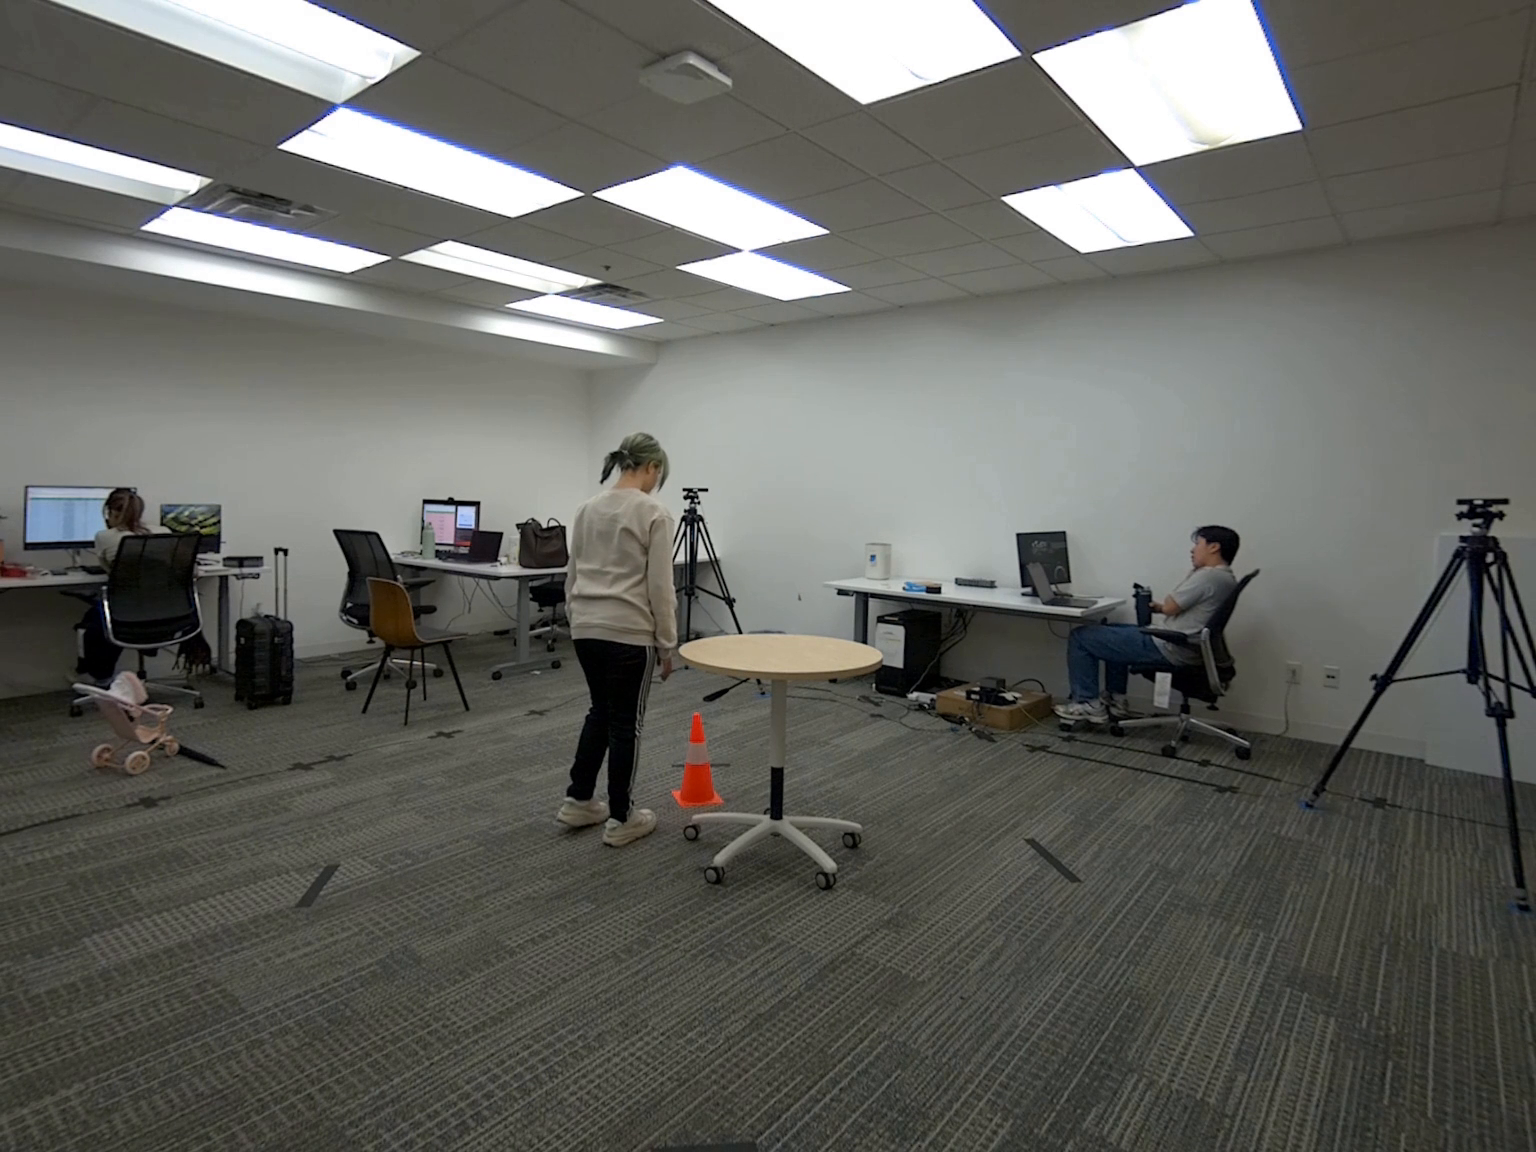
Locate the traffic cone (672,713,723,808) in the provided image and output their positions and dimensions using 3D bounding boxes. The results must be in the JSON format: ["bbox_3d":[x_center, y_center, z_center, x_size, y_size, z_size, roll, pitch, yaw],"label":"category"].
[{"bbox_3d":[-0.328,0.813,3.835,0.202,0.382,0.207,0,4,-15],"label":"traffic cone"}]
